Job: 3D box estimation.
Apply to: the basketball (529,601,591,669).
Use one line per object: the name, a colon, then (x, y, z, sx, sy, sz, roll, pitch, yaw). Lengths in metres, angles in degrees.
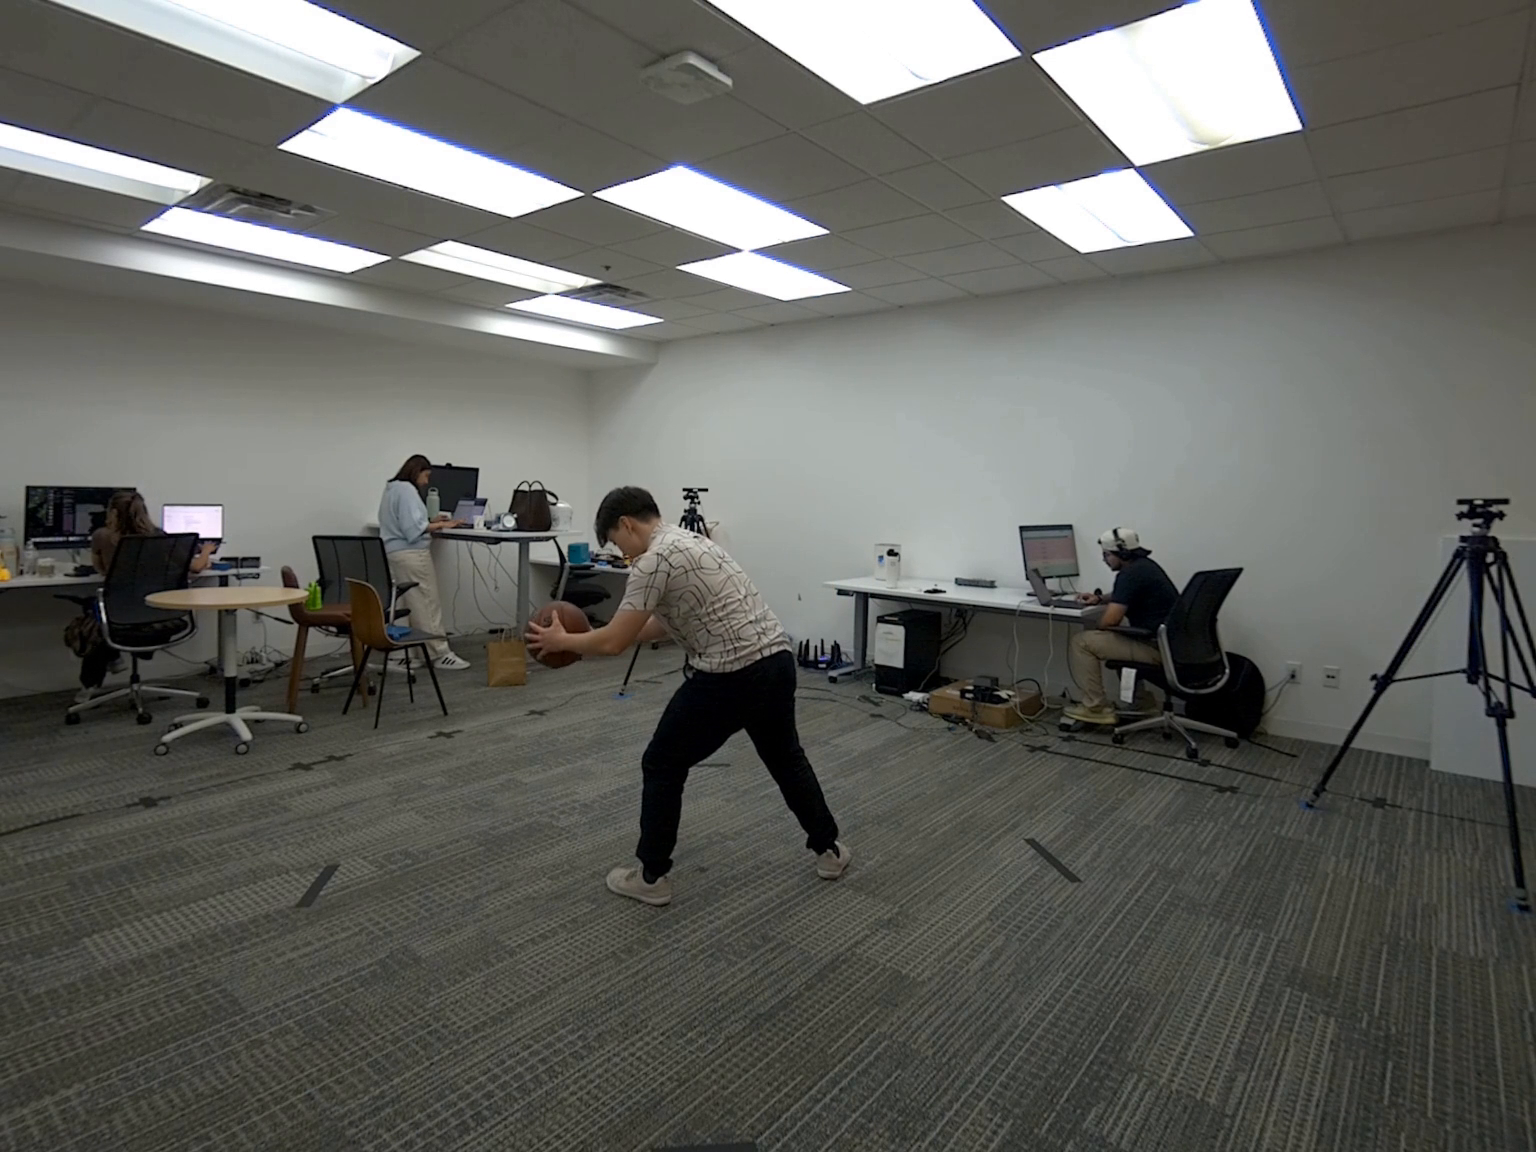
basketball: (-0.763, 0.207, 3.066, 0.235, 0.235, 0.237, 1, 4, -2)
